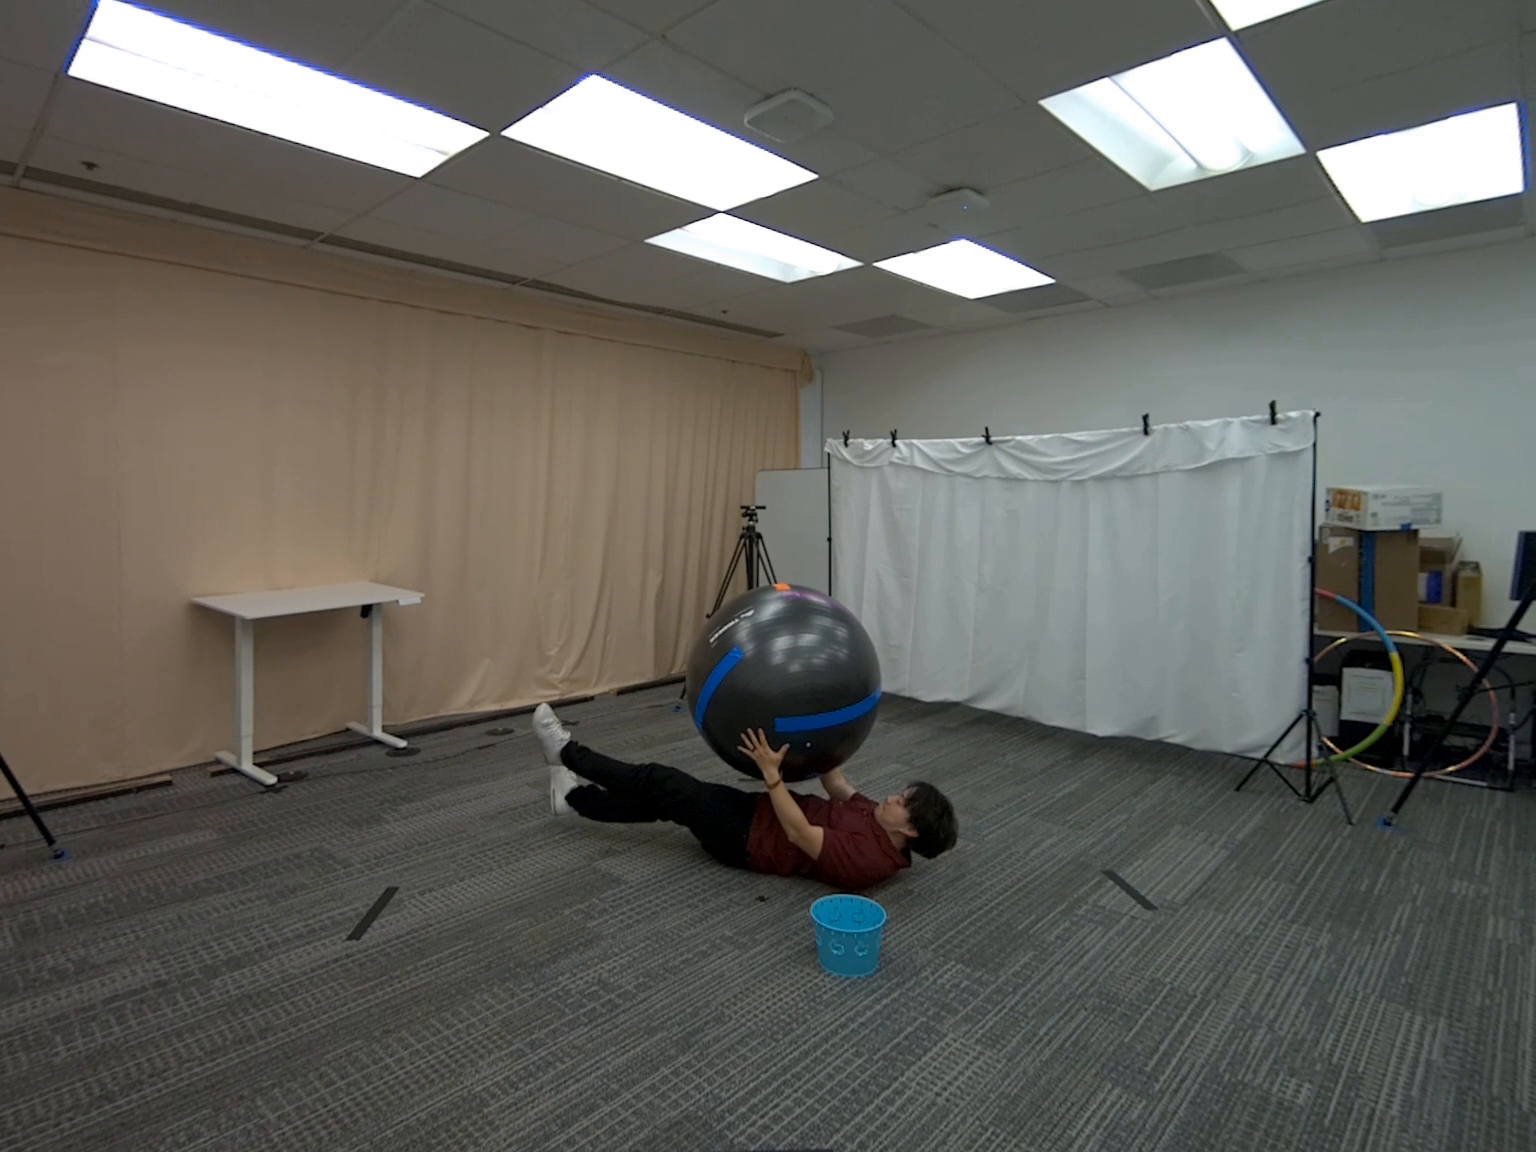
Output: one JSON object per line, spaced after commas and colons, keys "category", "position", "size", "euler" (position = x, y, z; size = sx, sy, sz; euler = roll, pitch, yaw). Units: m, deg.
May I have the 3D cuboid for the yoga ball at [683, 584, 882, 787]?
{"category": "yoga ball", "position": [0.058, 0.414, 3.288], "size": [0.757, 0.756, 0.760], "euler": [0, 4, -2]}
